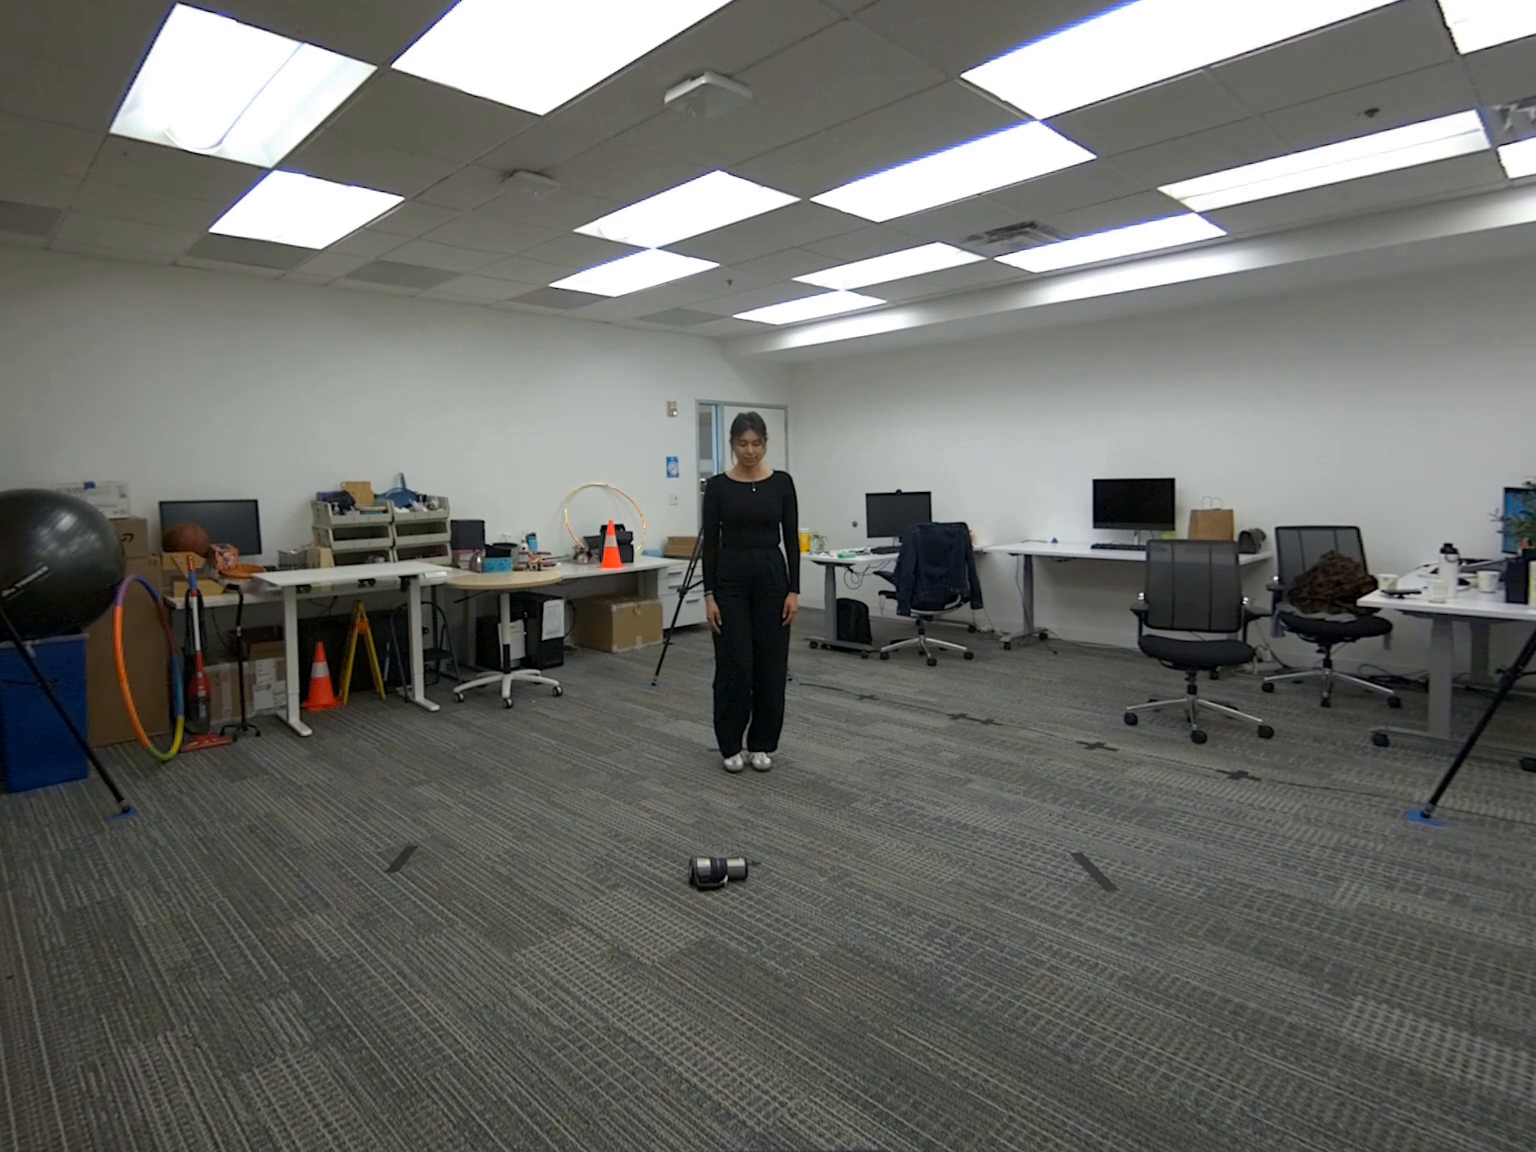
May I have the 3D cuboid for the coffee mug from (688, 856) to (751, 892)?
[{"bbox_3d":[-0.175,1.037,2.967,0.201,0.125,0.086,3,-37,-11],"label":"coffee mug"}]
